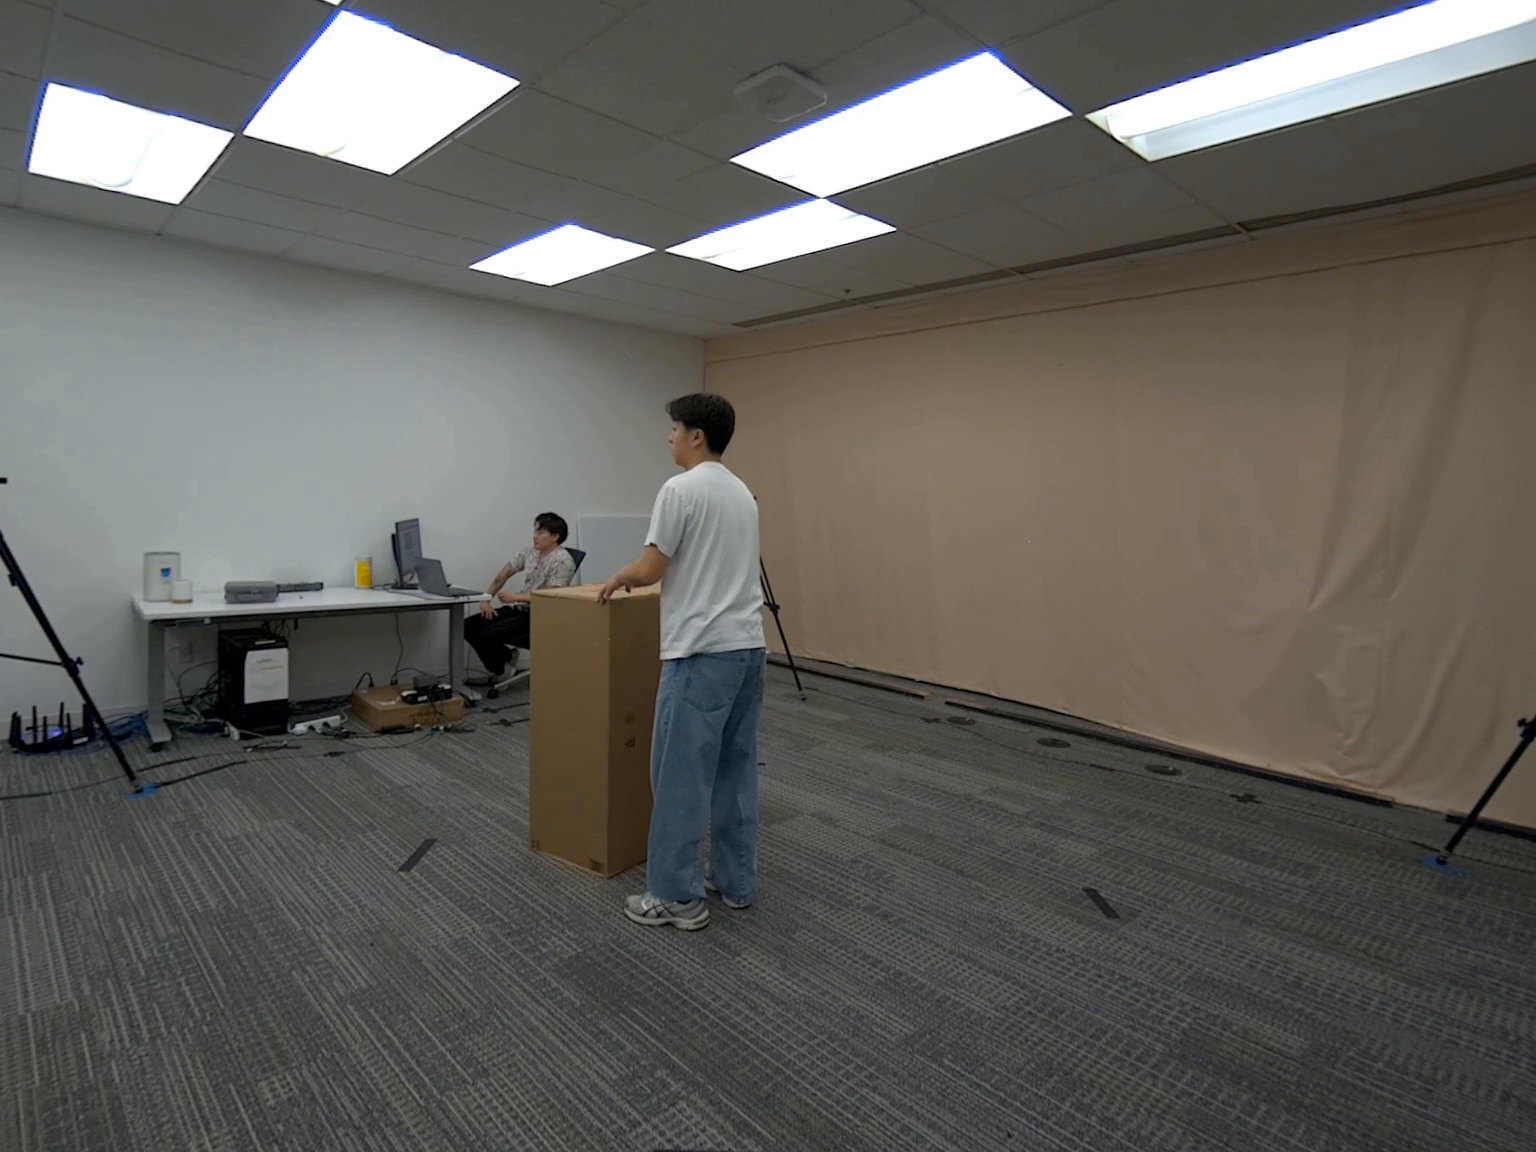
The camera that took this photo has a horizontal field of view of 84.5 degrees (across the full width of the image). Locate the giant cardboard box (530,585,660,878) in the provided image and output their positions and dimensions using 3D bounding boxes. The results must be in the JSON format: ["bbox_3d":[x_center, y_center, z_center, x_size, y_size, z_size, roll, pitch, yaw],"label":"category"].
[{"bbox_3d":[-0.600,0.563,3.375,0.436,1.023,0.565,4,4,35],"label":"giant cardboard box"}]
